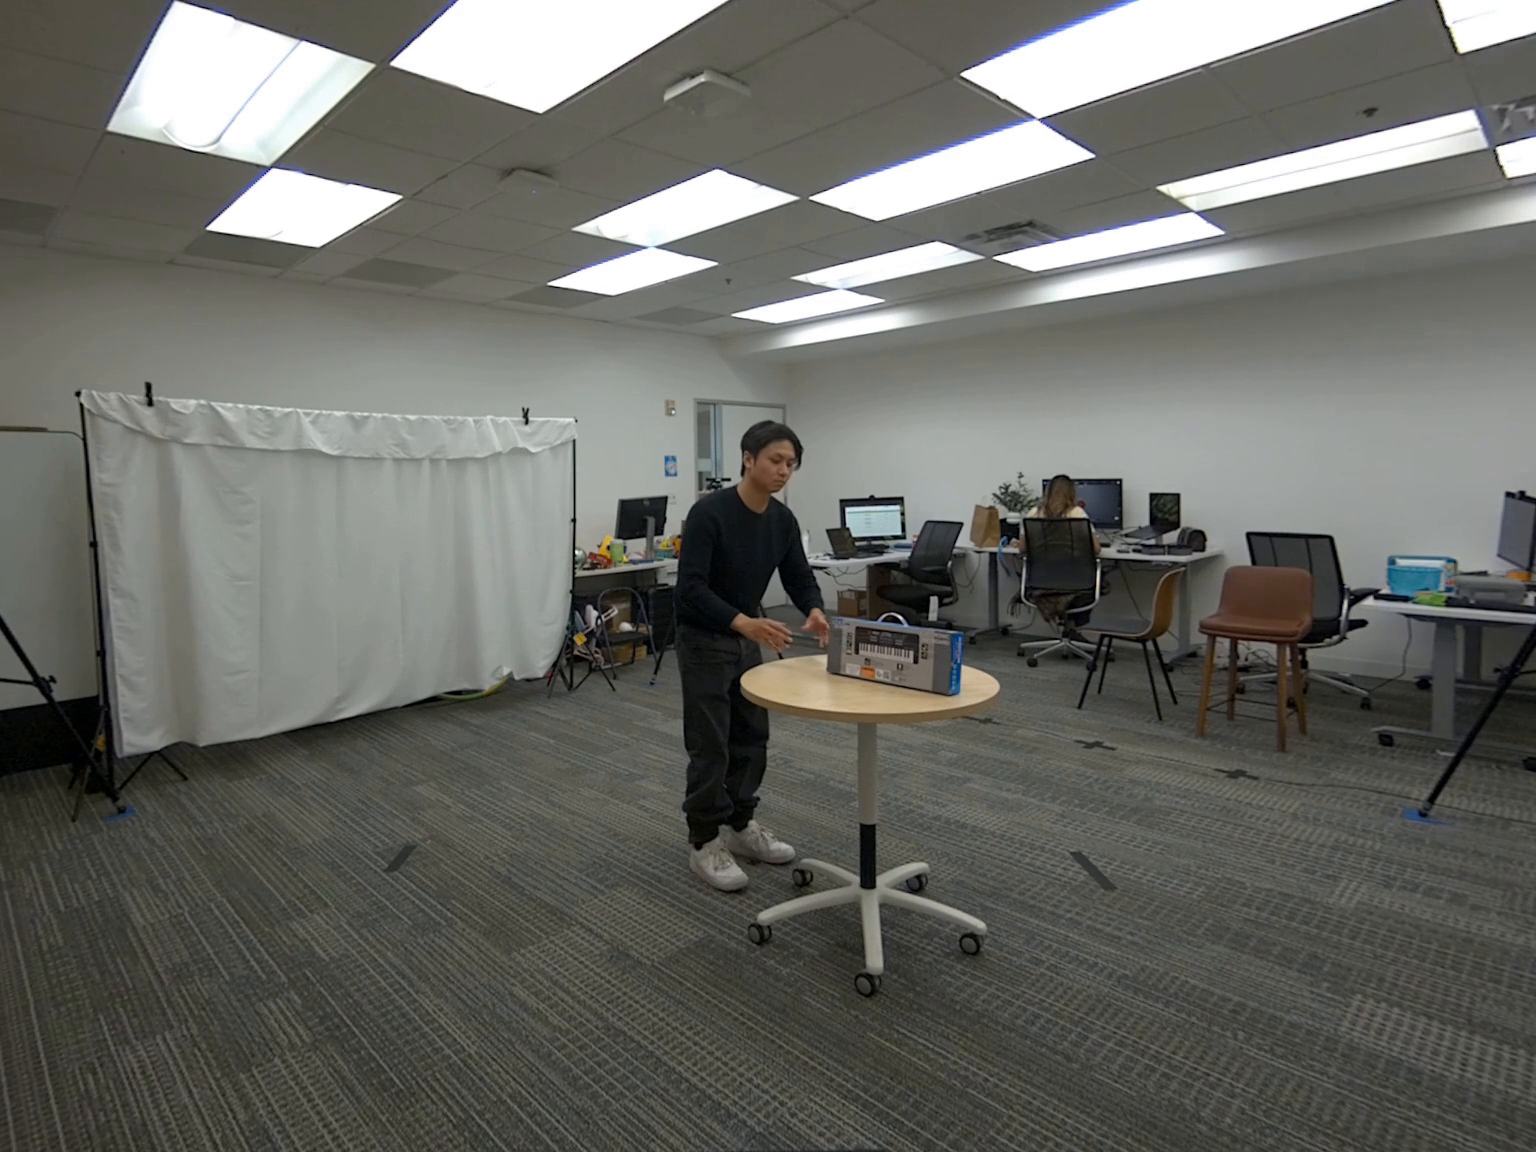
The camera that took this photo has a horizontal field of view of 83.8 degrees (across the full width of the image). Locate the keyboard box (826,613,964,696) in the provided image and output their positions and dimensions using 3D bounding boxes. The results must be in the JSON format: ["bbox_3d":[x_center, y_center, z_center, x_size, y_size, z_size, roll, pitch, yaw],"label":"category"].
[{"bbox_3d":[0.370,0.233,2.526,0.450,0.176,0.057,5,3,44],"label":"keyboard box"}]
